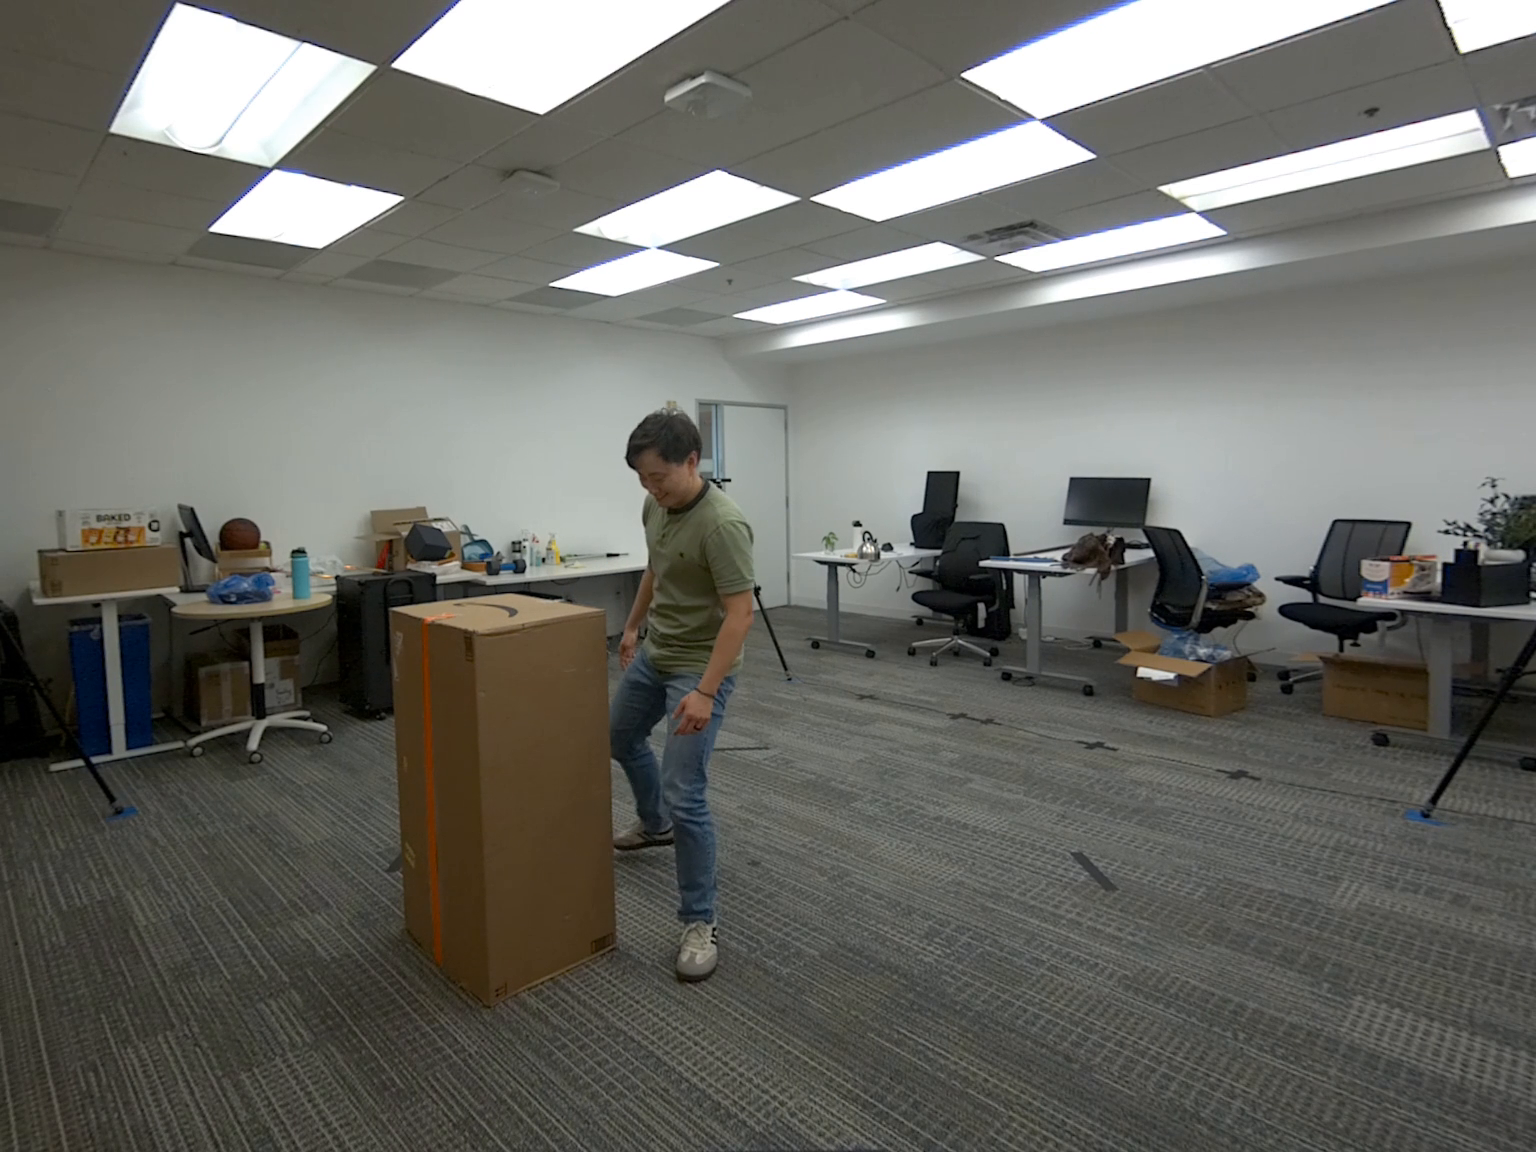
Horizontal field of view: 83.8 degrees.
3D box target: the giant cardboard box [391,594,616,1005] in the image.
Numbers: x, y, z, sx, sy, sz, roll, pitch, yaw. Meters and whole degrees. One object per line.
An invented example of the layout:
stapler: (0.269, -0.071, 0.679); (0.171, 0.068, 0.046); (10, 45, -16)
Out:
giant cardboard box: (-0.812, 0.609, 2.588); (0.415, 1.021, 0.595); (-6, 7, -43)
